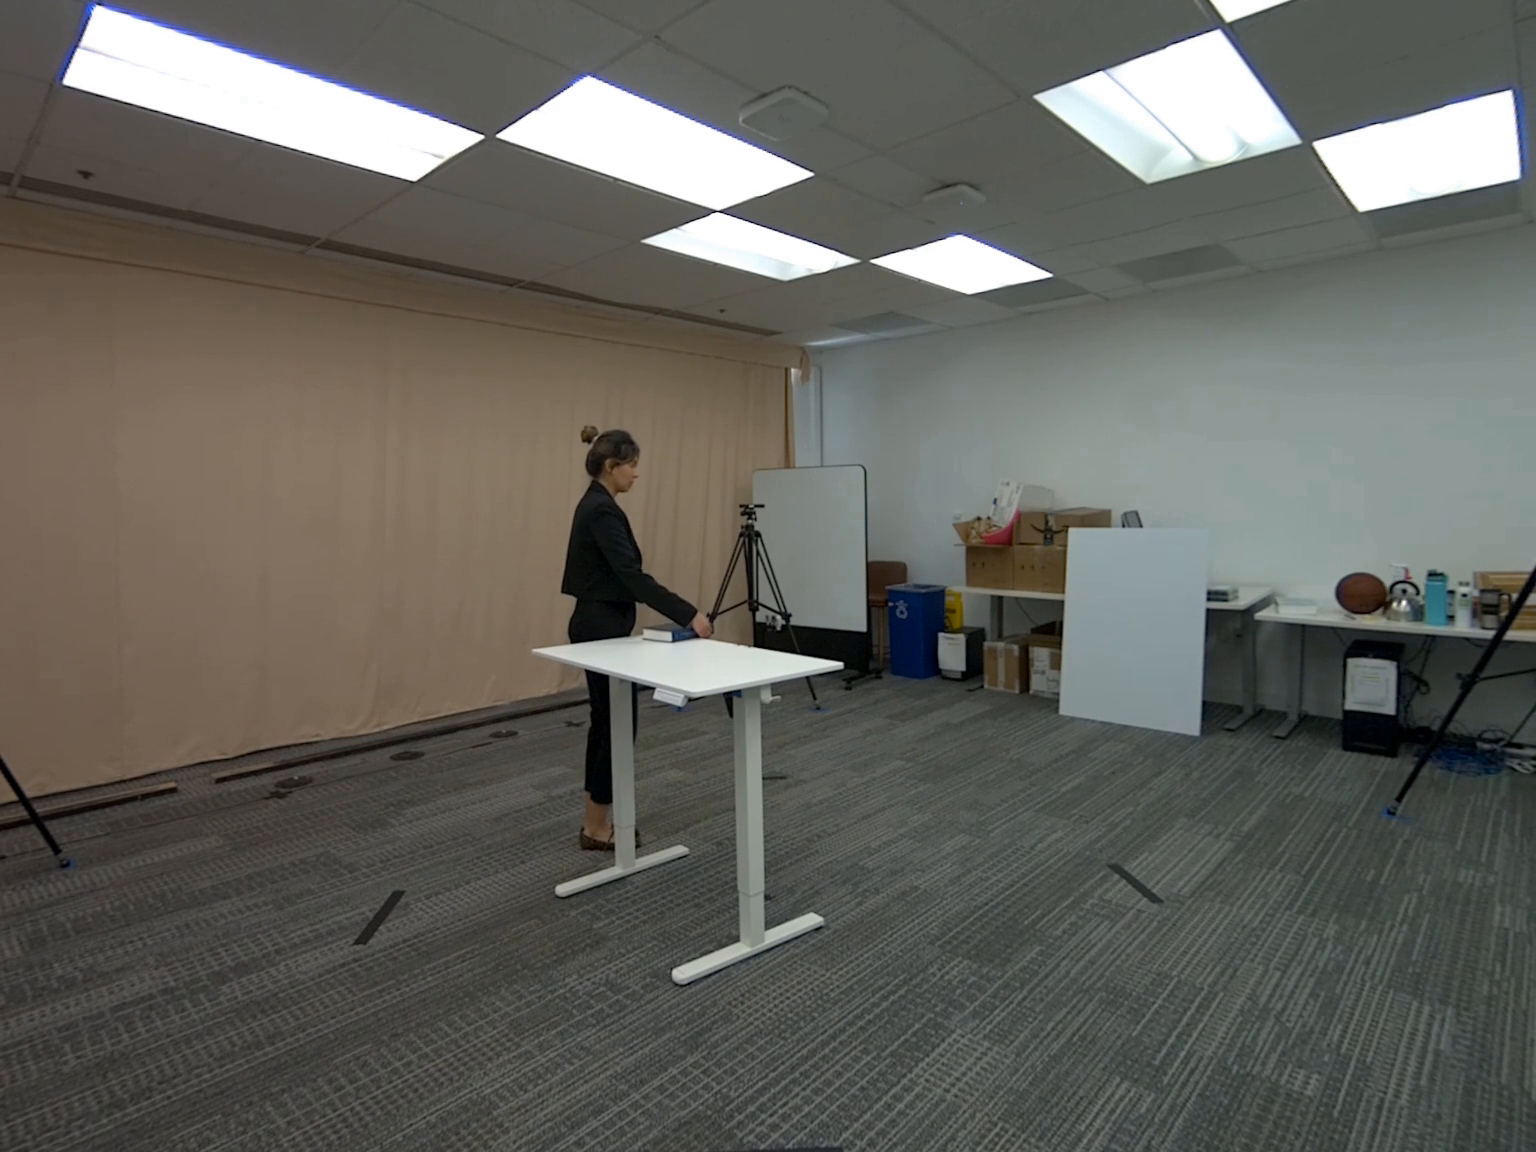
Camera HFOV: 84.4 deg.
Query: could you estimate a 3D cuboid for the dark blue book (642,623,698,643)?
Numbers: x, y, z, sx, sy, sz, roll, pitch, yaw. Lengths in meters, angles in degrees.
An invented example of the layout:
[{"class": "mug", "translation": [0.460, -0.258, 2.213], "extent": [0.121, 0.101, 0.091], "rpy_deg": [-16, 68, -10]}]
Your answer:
[{"class": "dark blue book", "translation": [-0.360, 0.220, 3.305], "extent": [0.169, 0.045, 0.238], "rpy_deg": [2, 5, 38]}]
